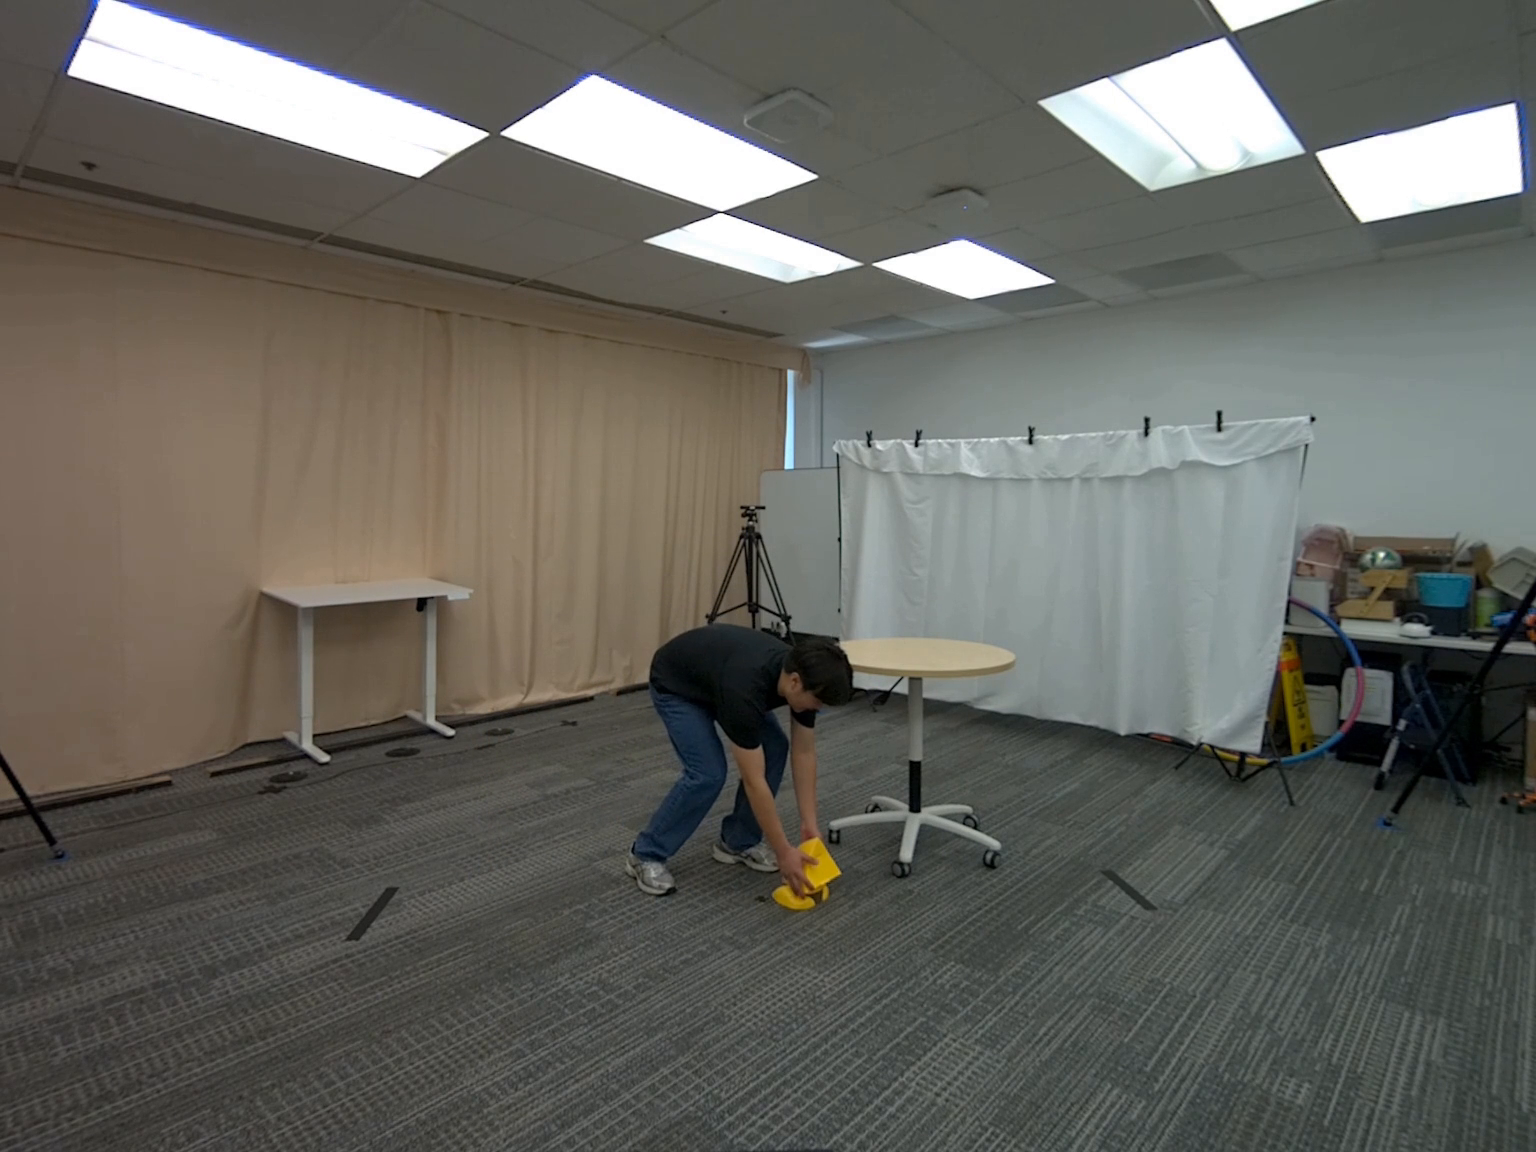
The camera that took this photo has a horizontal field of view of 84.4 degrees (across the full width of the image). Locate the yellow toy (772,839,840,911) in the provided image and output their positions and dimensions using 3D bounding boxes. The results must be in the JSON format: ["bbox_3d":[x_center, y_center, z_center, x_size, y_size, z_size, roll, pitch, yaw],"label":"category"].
[{"bbox_3d":[0.129,1.026,2.994,0.199,0.230,0.198,2,4,42],"label":"yellow toy"}]
